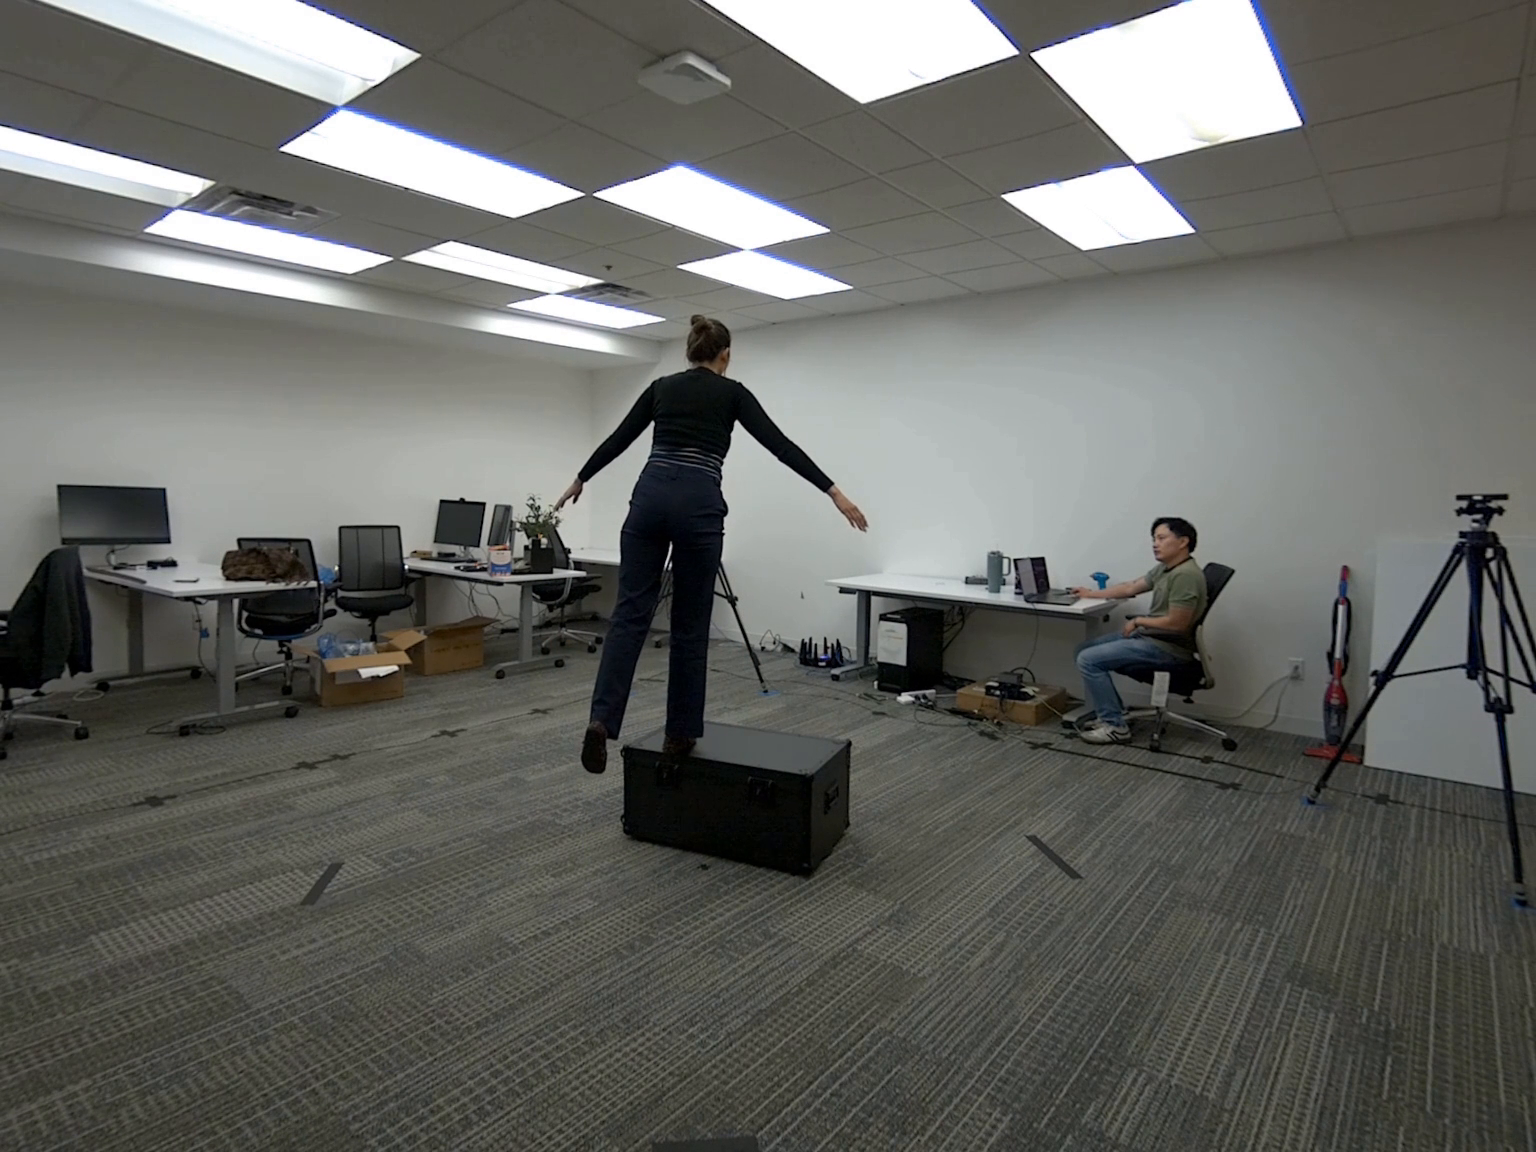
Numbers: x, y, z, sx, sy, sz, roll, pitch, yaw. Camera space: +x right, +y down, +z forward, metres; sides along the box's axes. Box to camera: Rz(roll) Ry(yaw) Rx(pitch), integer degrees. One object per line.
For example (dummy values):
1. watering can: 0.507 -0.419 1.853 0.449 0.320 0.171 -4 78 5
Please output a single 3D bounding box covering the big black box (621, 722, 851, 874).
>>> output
1. big black box: -0.157 0.848 3.413 0.883 0.395 0.510 3 6 24
